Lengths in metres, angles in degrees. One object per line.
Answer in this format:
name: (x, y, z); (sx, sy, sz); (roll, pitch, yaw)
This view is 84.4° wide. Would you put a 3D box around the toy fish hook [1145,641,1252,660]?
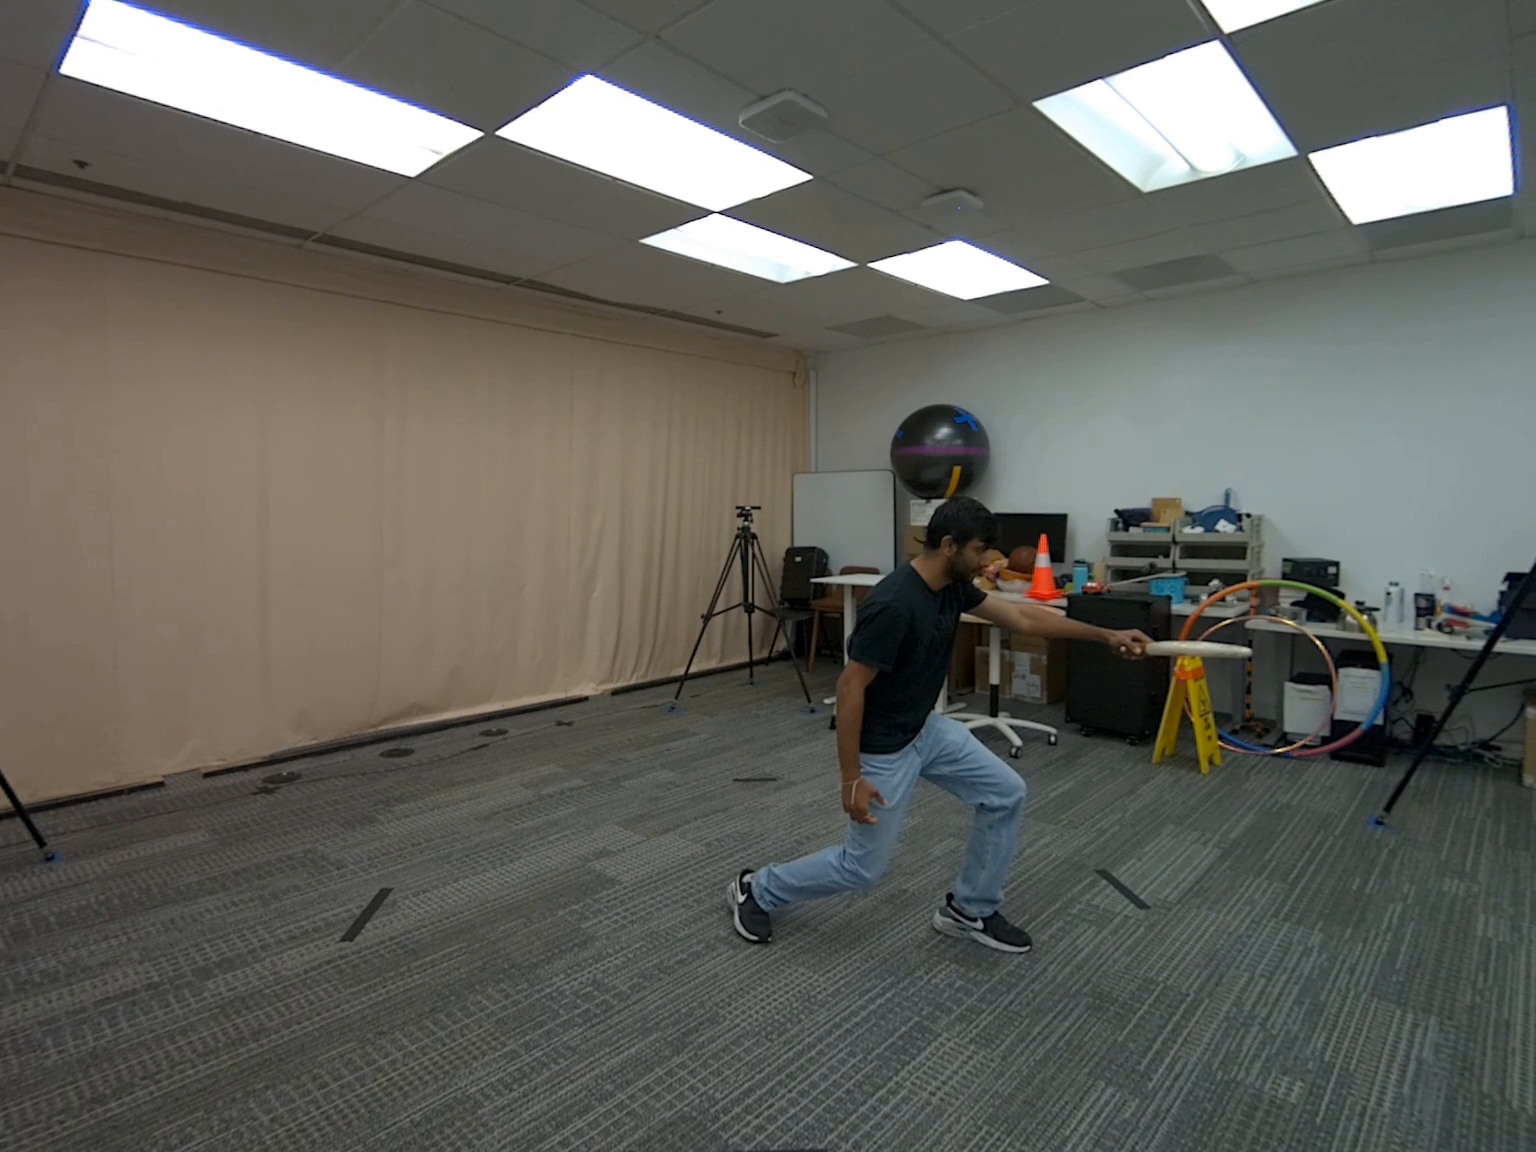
toy fish hook: (1.200, 0.219, 2.445); (0.222, 0.048, 0.510); (11, -5, -9)
